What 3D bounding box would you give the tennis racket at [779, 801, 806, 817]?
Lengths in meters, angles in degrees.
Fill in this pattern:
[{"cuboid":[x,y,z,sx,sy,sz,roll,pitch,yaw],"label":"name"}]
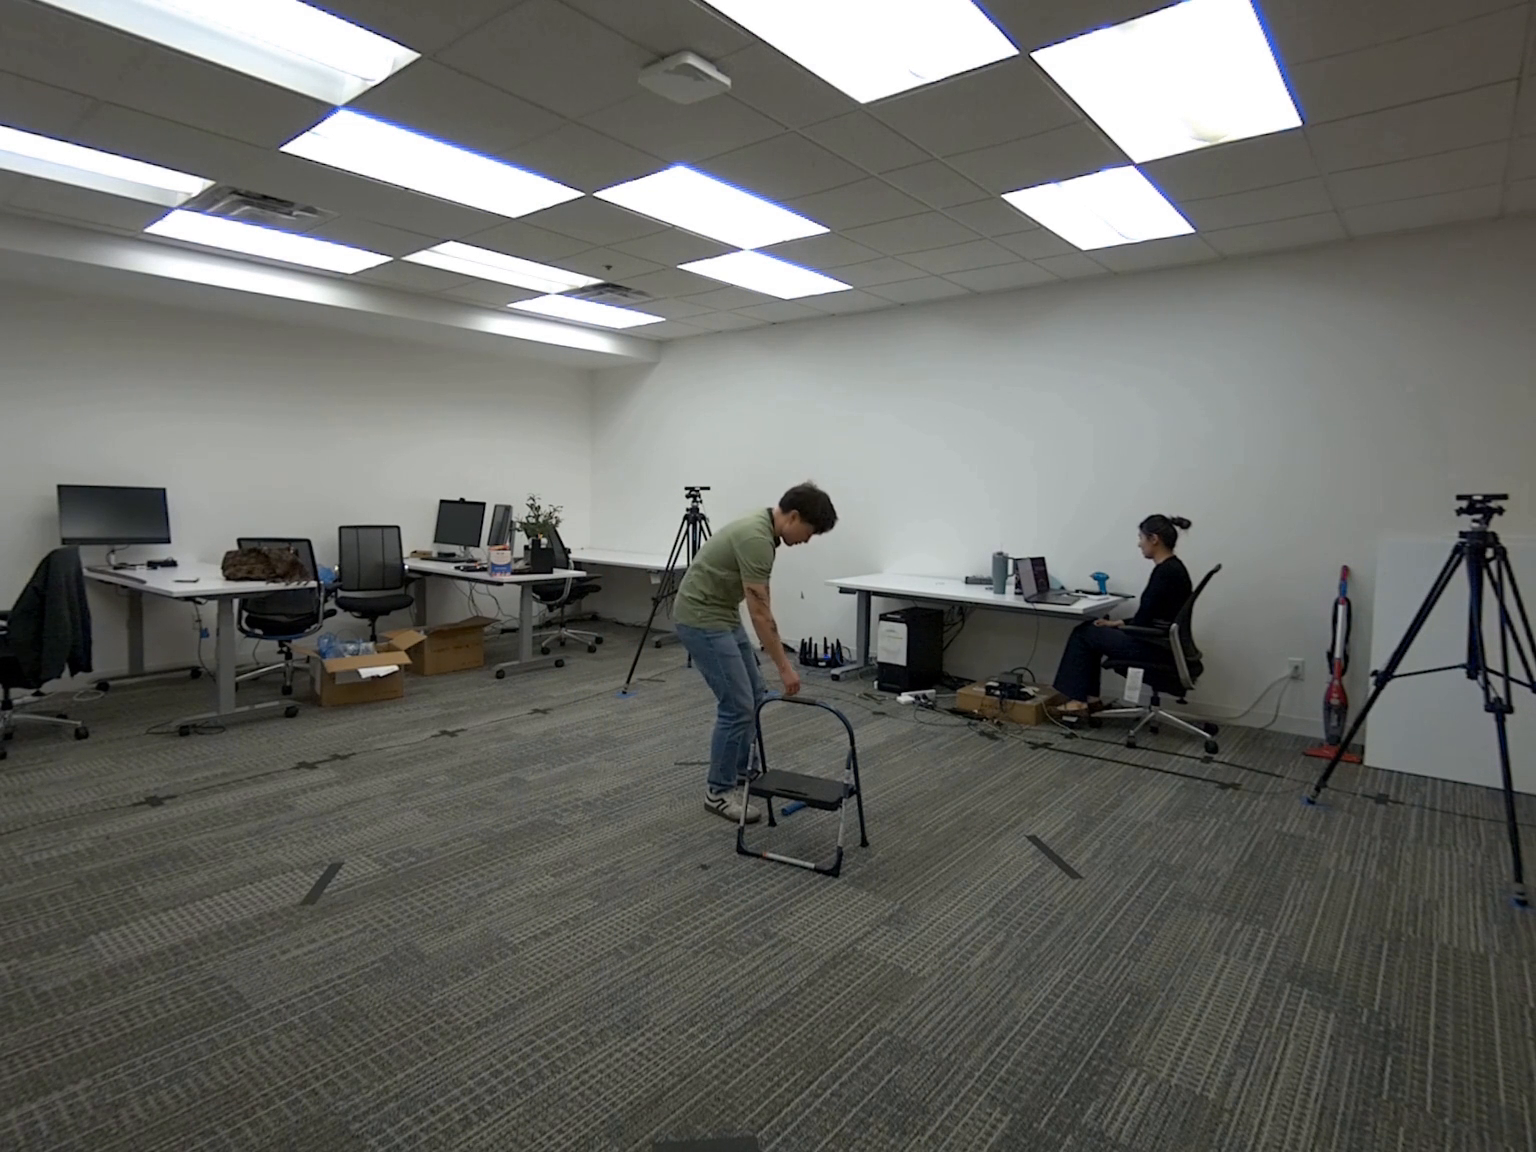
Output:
[{"cuboid":[0.169,0.979,3.785,0.221,0.031,0.420,5,6,37],"label":"tennis racket"}]
